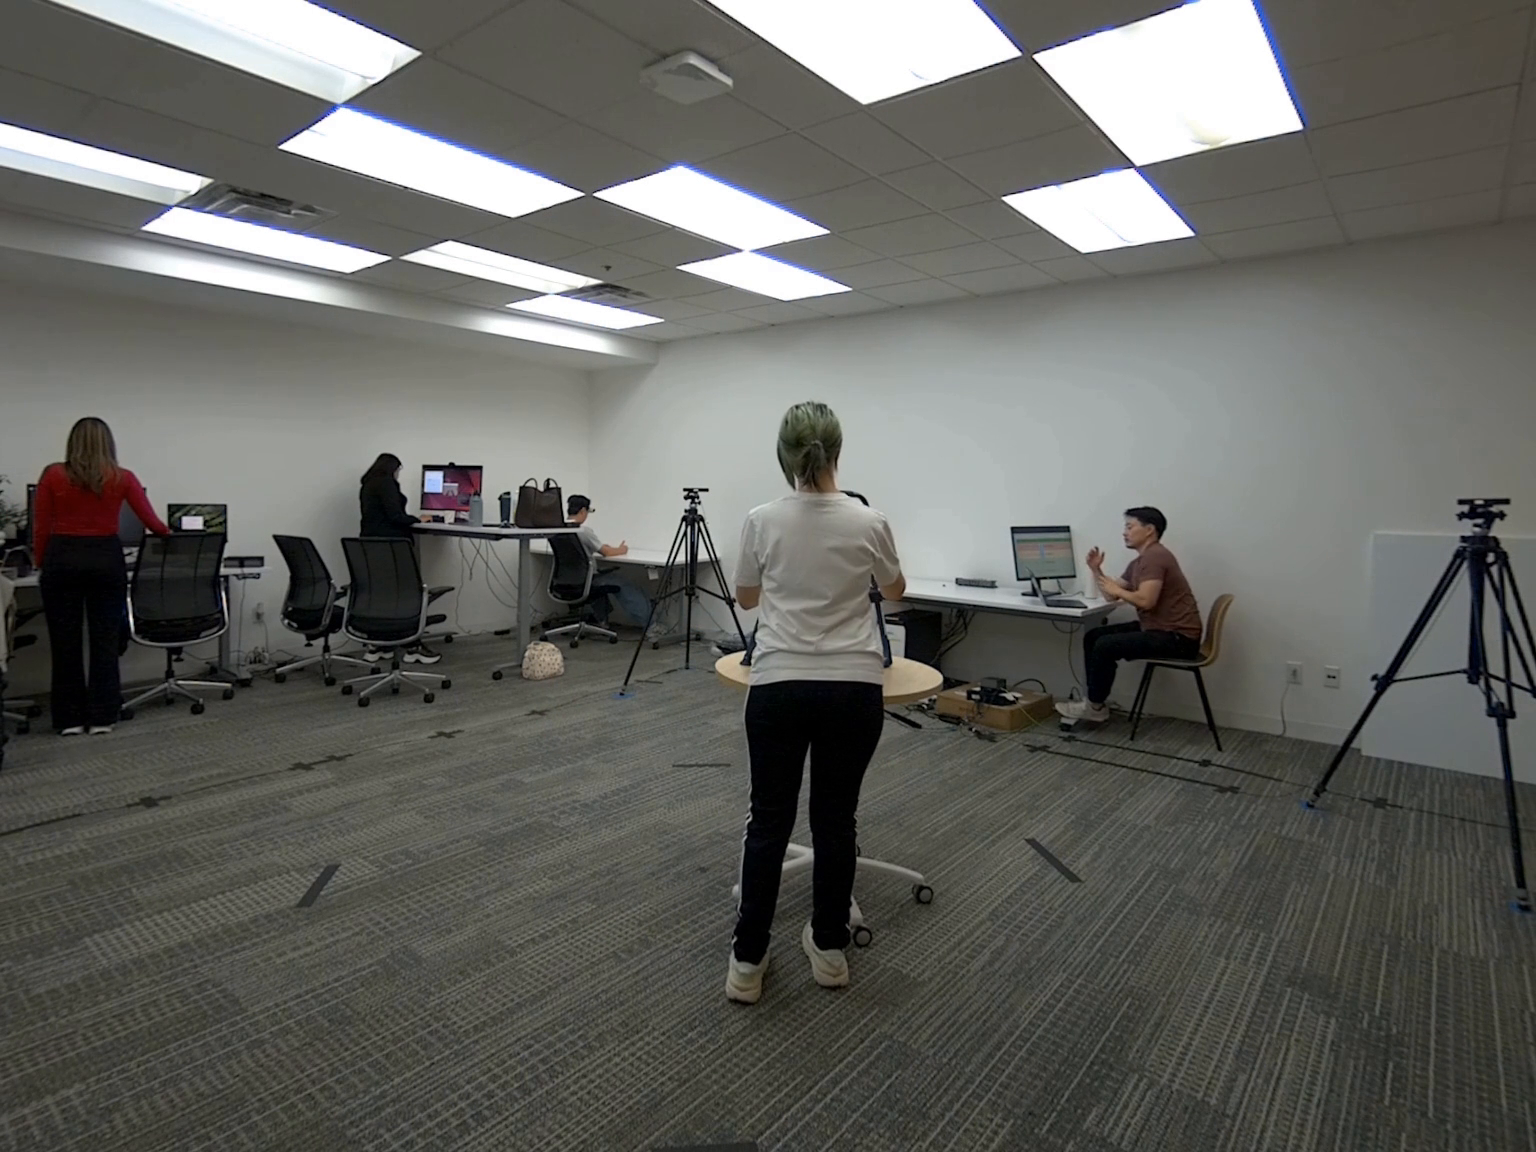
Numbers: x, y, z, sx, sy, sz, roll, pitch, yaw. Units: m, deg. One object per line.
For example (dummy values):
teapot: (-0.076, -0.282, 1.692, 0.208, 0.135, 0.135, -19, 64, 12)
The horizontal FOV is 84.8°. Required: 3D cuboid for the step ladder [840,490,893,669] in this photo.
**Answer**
step ladder: (0.178, 0.010, 2.937, 0.361, 0.604, 0.417, 5, 5, 43)
